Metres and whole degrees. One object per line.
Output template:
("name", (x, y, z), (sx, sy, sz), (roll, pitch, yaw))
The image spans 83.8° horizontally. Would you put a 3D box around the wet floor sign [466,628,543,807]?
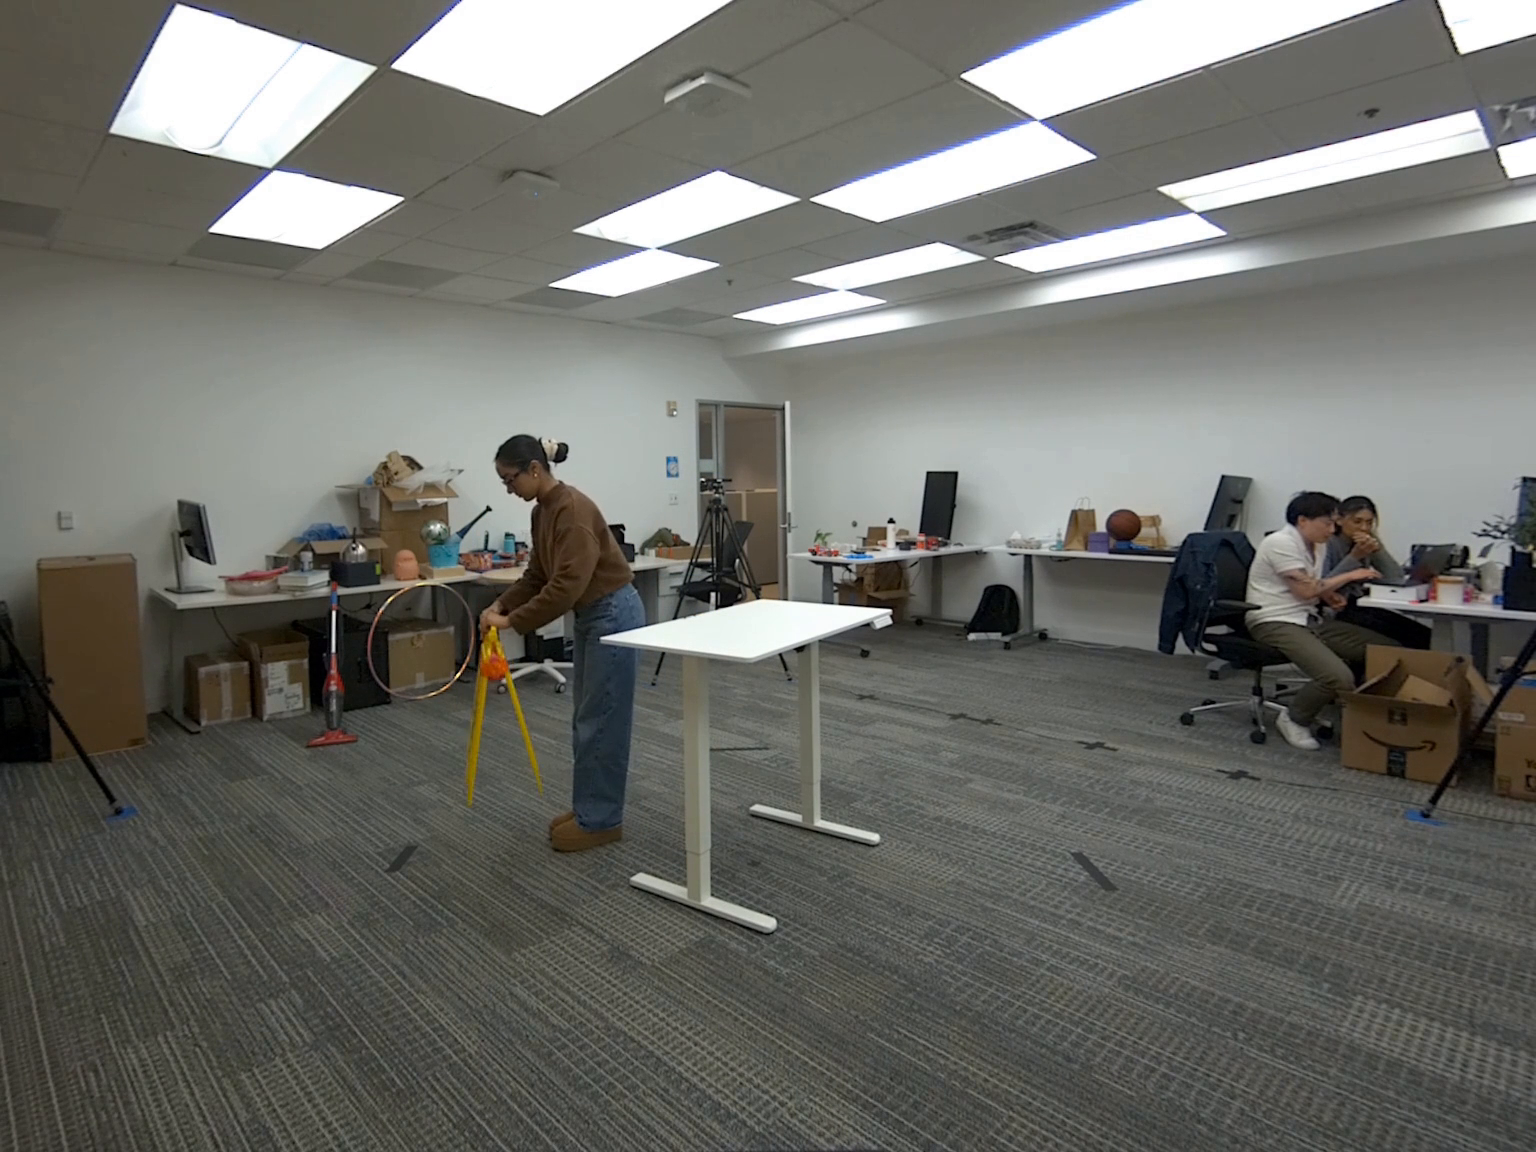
("wet floor sign", (-1.013, 0.483, 3.195), (0.285, 0.640, 0.289), (-4, 11, -18))
